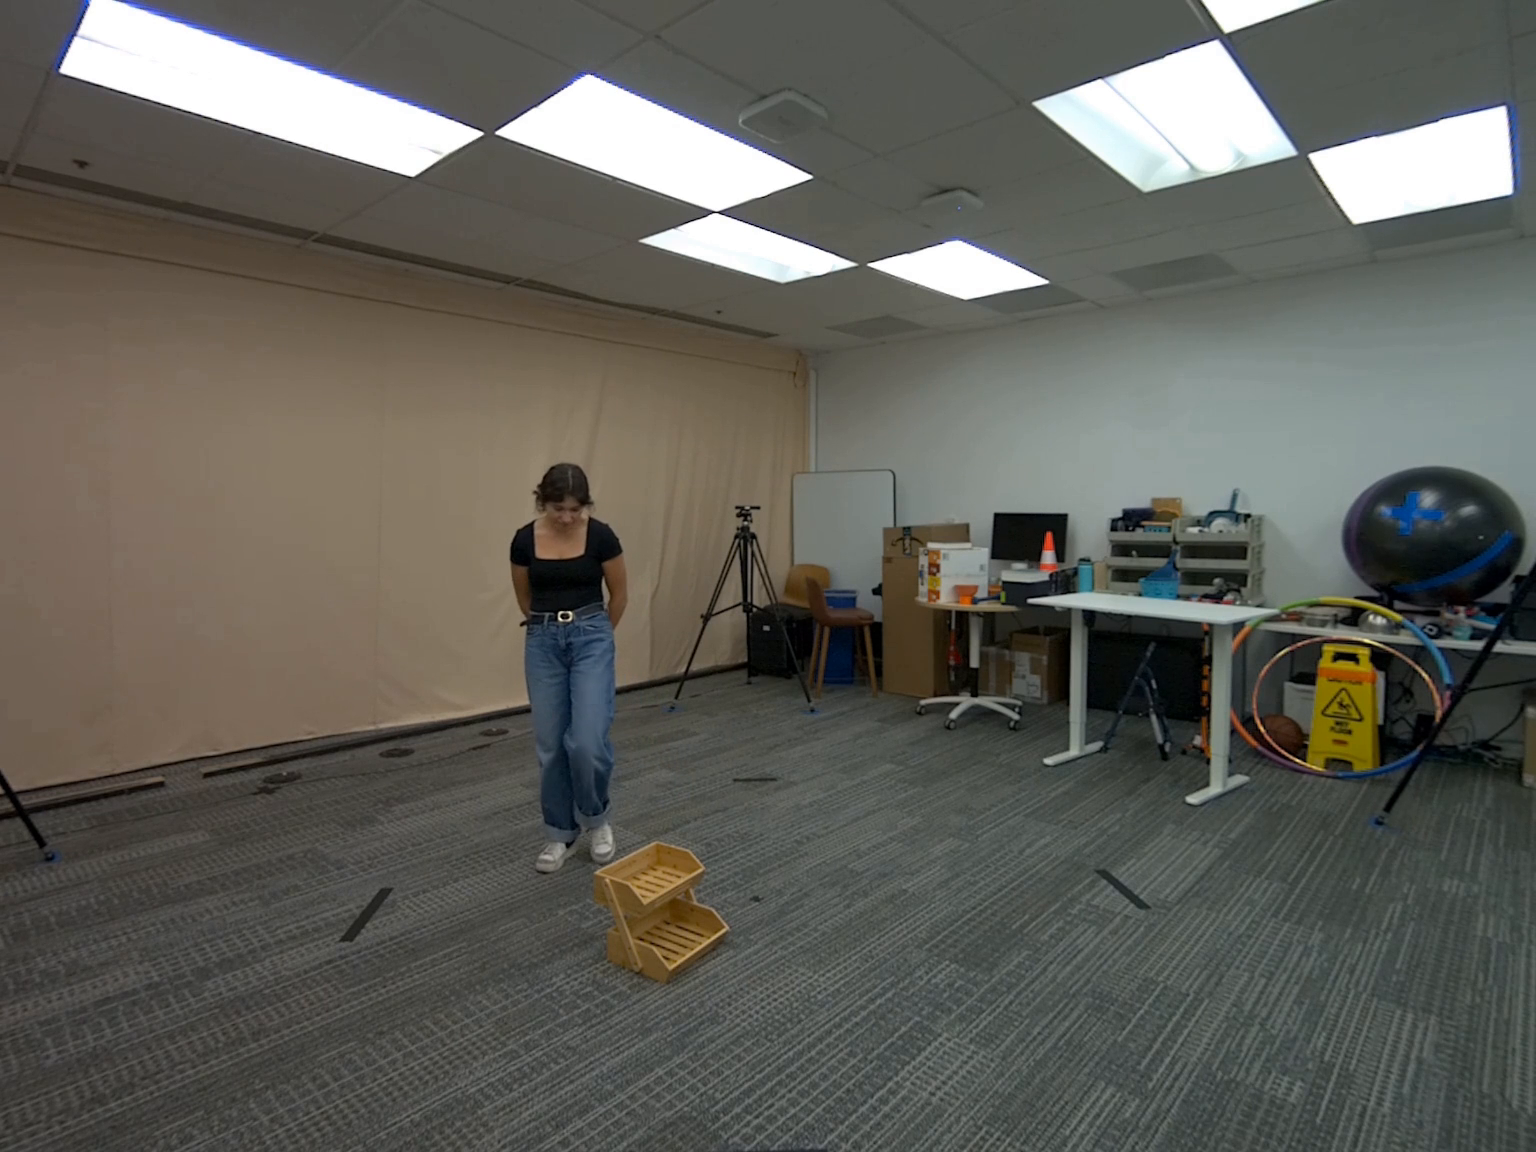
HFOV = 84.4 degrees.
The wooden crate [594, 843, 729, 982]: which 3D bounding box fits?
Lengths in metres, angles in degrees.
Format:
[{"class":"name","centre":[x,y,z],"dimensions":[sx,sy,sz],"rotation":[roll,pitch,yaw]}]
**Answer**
[{"class":"wooden crate","centre":[-0.331,1.043,2.641],"dimensions":[0.311,0.273,0.315],"rotation":[2,4,35]}]
